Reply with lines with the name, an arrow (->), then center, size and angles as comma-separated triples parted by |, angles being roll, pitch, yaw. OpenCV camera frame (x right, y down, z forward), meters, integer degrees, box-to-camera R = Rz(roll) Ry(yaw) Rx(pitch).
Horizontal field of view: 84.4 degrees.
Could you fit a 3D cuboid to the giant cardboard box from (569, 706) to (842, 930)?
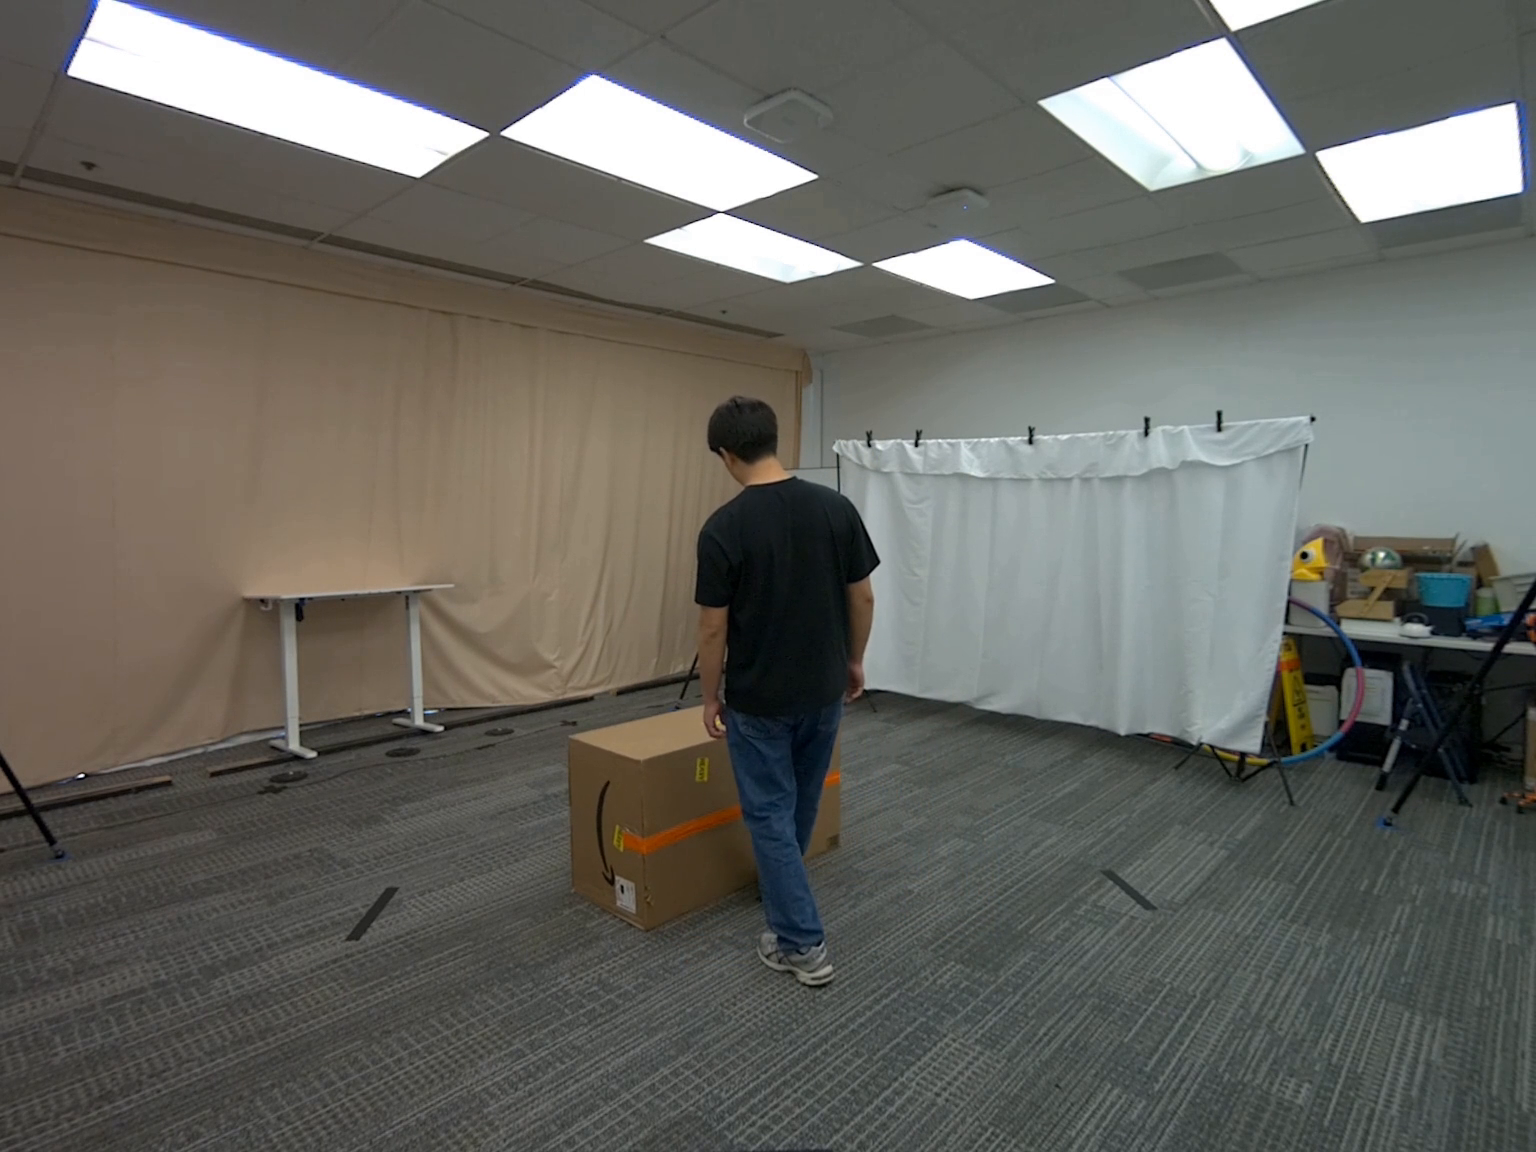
giant cardboard box -> -0.207, 0.838, 3.234 | 0.996, 0.582, 0.462 | -5, 7, -44
